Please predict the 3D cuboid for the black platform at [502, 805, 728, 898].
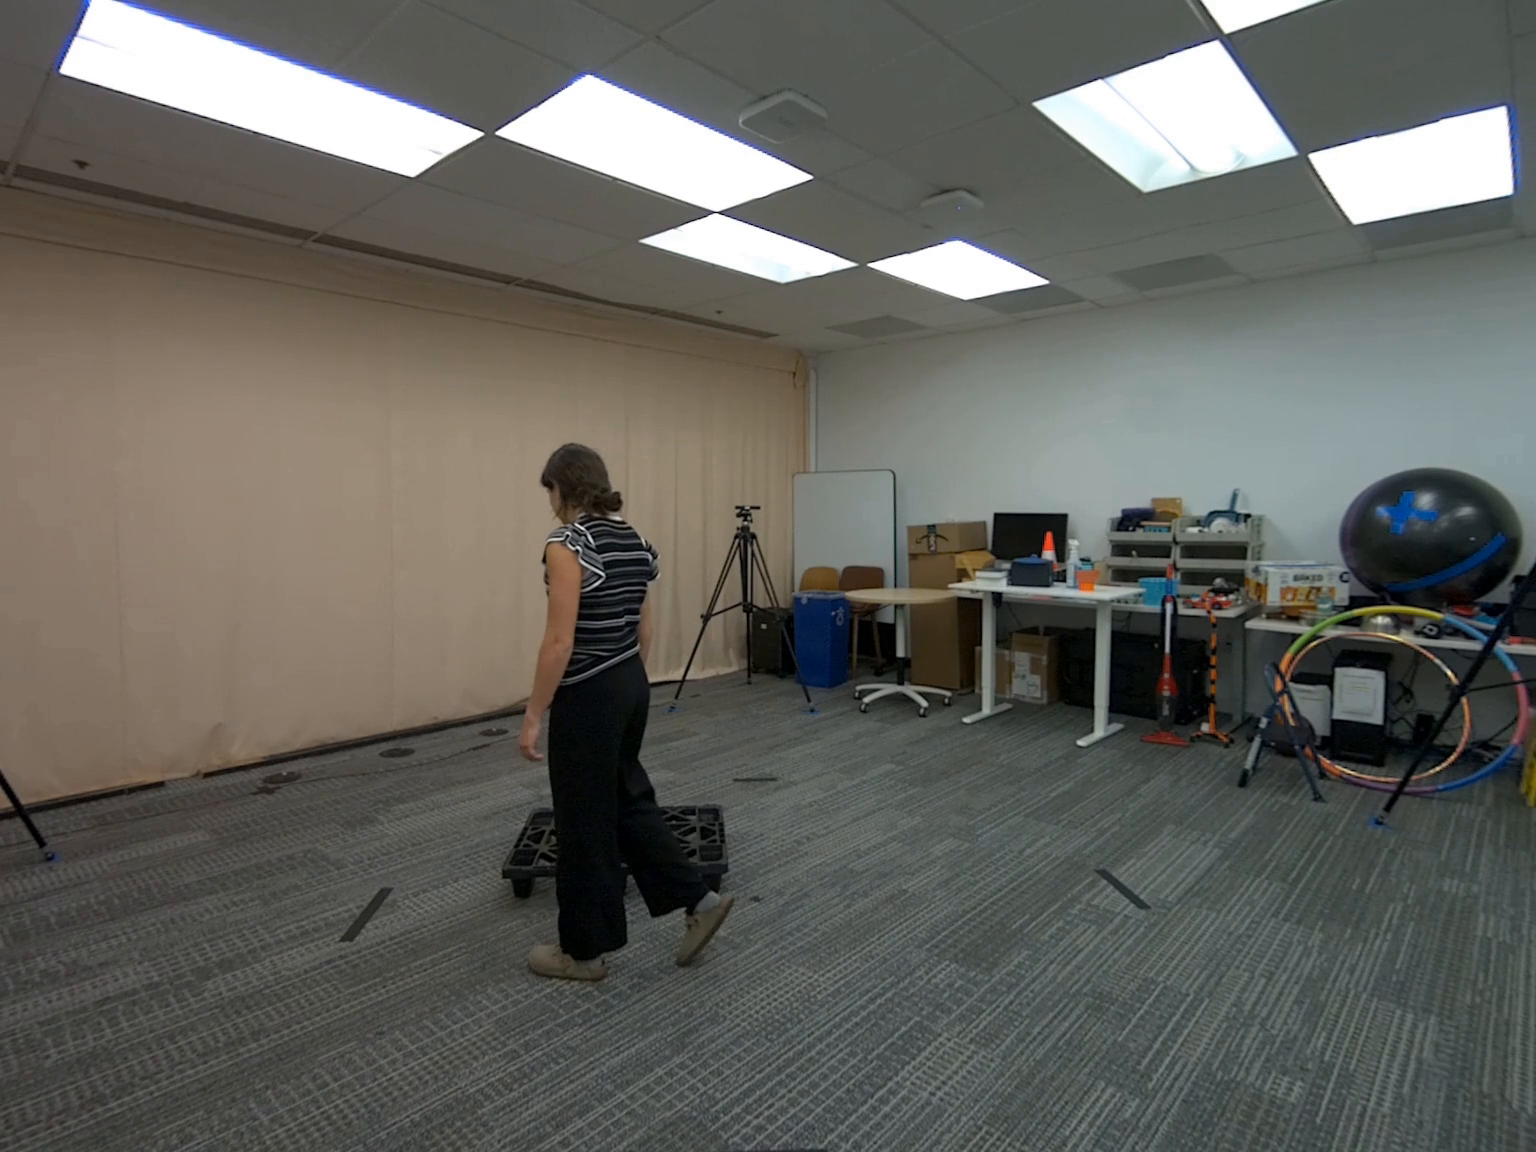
[{"bbox_3d":[-0.563,1.059,3.248,0.804,0.143,0.608,-1,4,-3],"label":"black platform"}]
